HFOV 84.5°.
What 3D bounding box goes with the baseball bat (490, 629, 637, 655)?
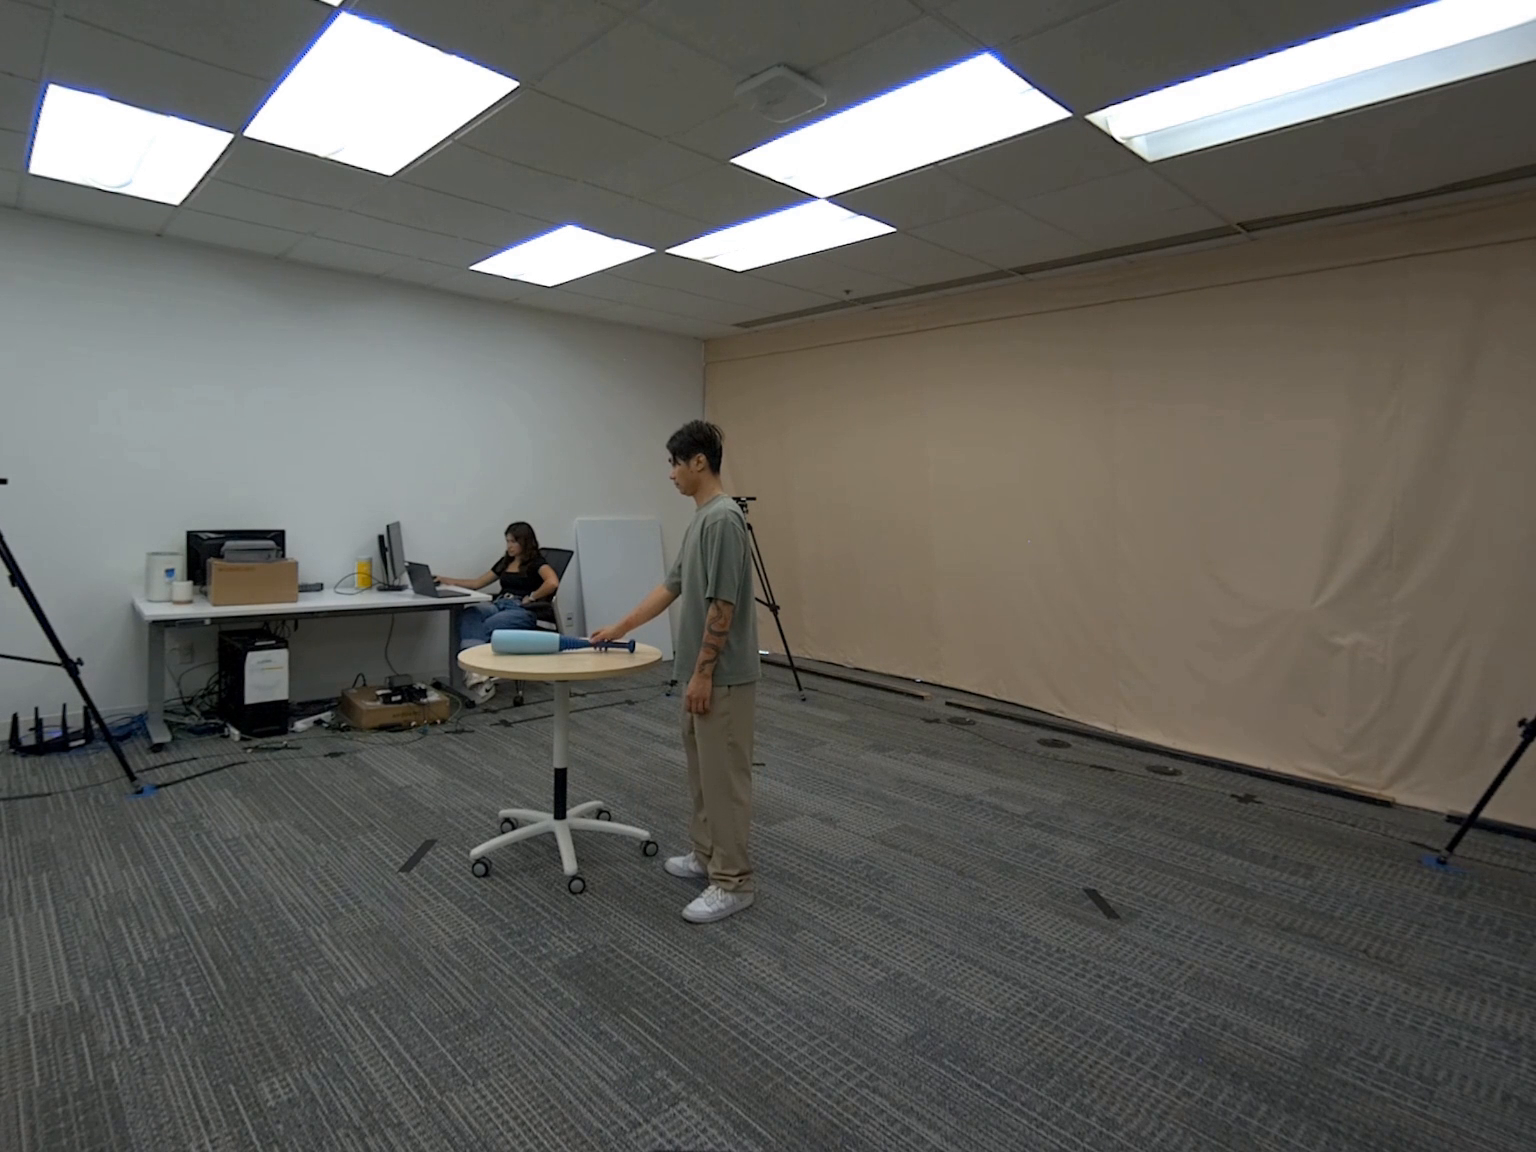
[{"bbox_3d":[-0.785,0.259,3.225,0.537,0.089,0.090,4,4,-12],"label":"baseball bat"}]
